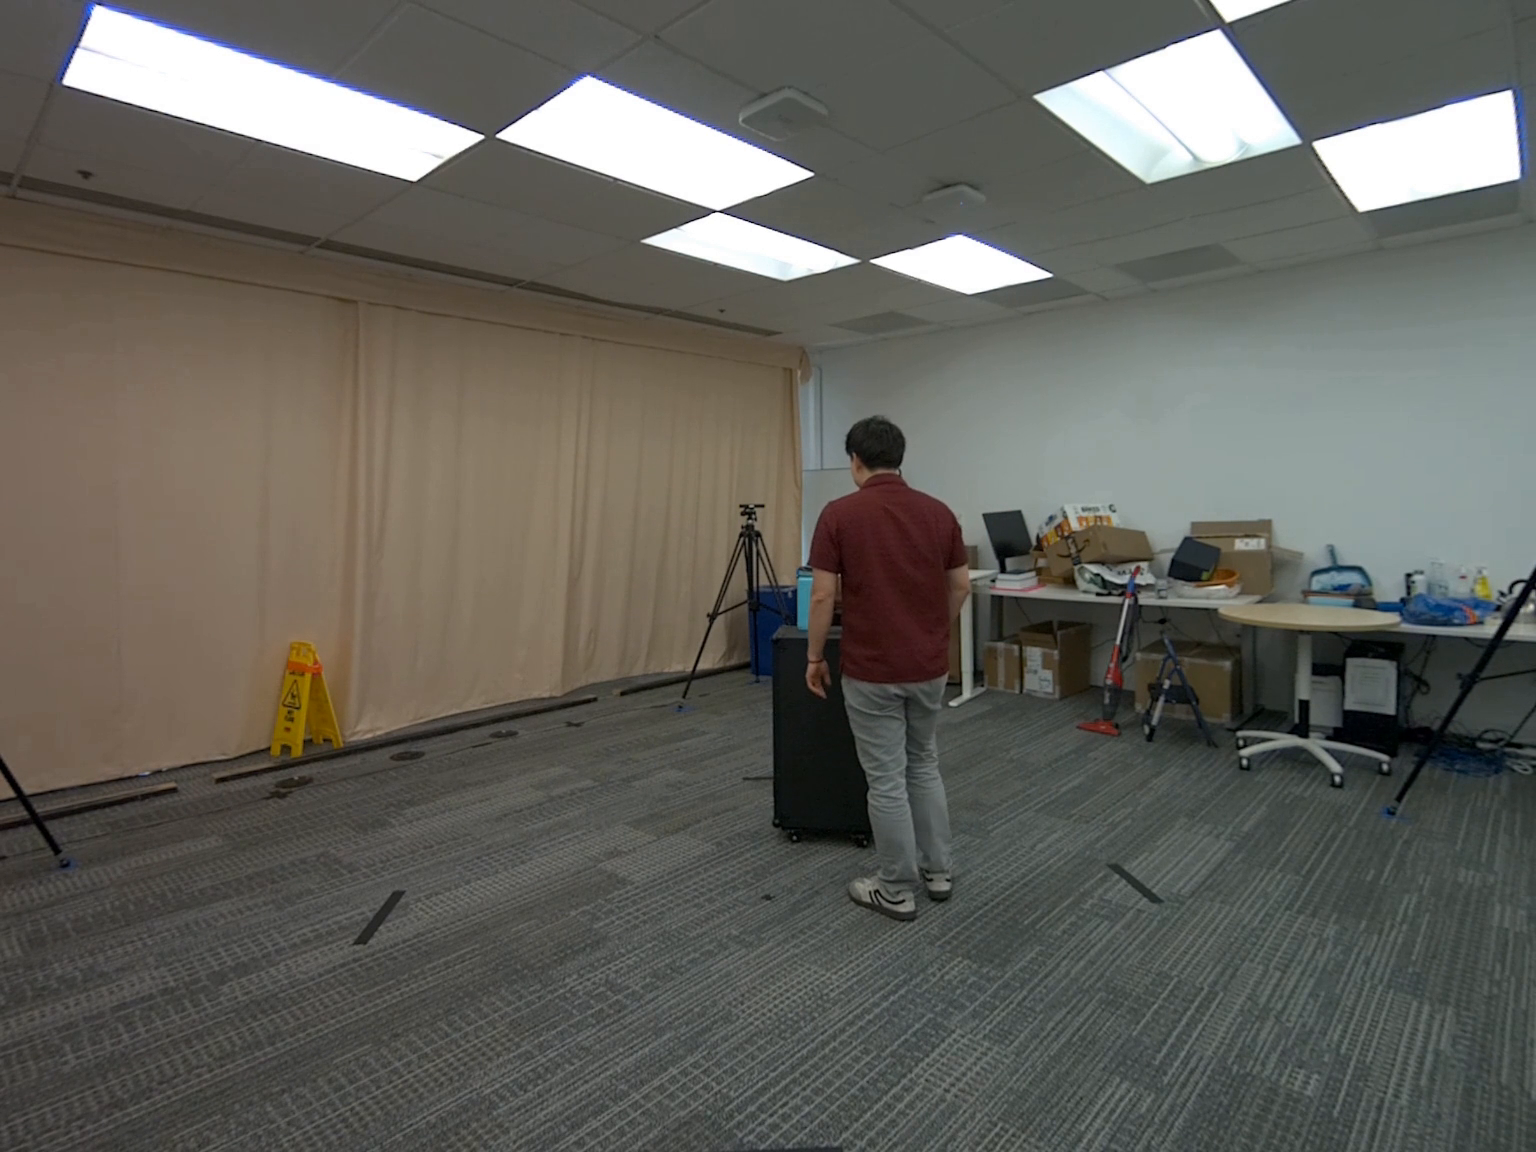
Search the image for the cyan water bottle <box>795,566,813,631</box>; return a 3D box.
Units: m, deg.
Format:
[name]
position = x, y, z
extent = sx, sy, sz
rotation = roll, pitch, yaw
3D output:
[cyan water bottle]
position = 0.176, 0.090, 3.659
extent = 0.092, 0.283, 0.092
rotation = -1, 1, -2
